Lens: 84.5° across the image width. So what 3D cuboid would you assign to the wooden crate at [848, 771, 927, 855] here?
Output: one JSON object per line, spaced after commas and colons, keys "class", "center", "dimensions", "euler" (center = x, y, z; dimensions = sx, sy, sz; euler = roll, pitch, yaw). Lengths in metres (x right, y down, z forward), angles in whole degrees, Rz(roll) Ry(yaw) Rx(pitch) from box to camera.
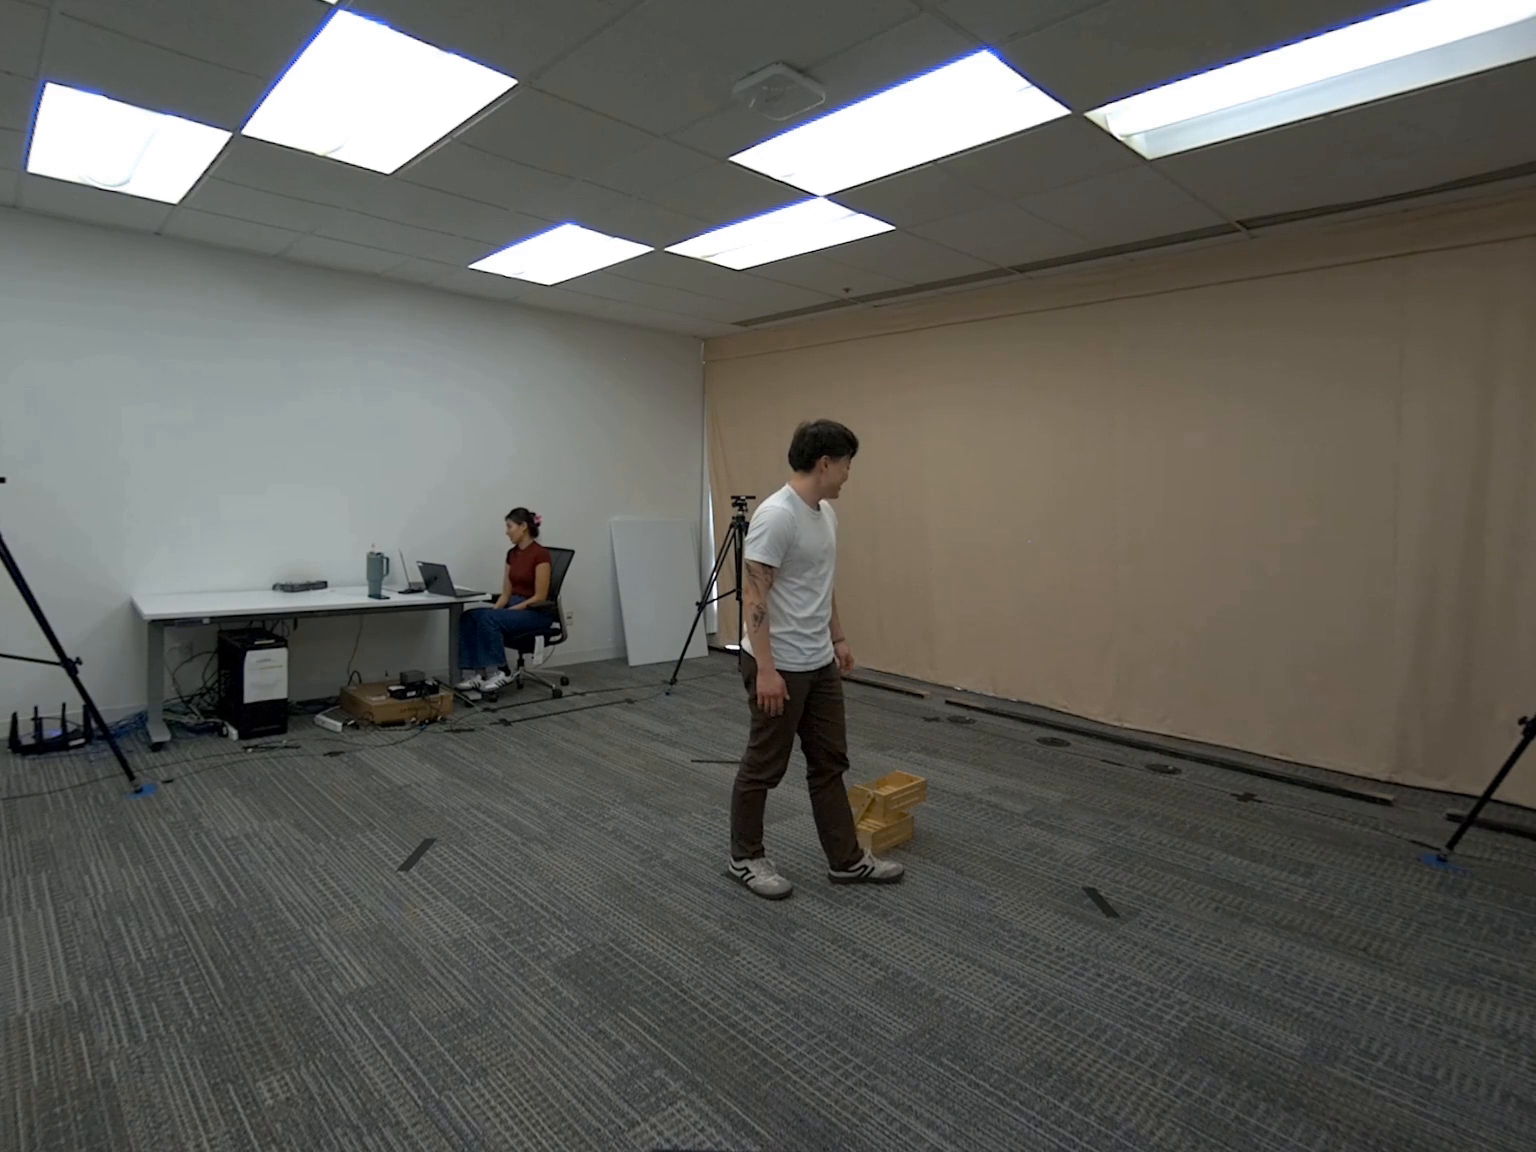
{"class": "wooden crate", "center": [0.425, 0.948, 3.453], "dimensions": [0.310, 0.272, 0.317], "euler": [6, 6, 43]}
